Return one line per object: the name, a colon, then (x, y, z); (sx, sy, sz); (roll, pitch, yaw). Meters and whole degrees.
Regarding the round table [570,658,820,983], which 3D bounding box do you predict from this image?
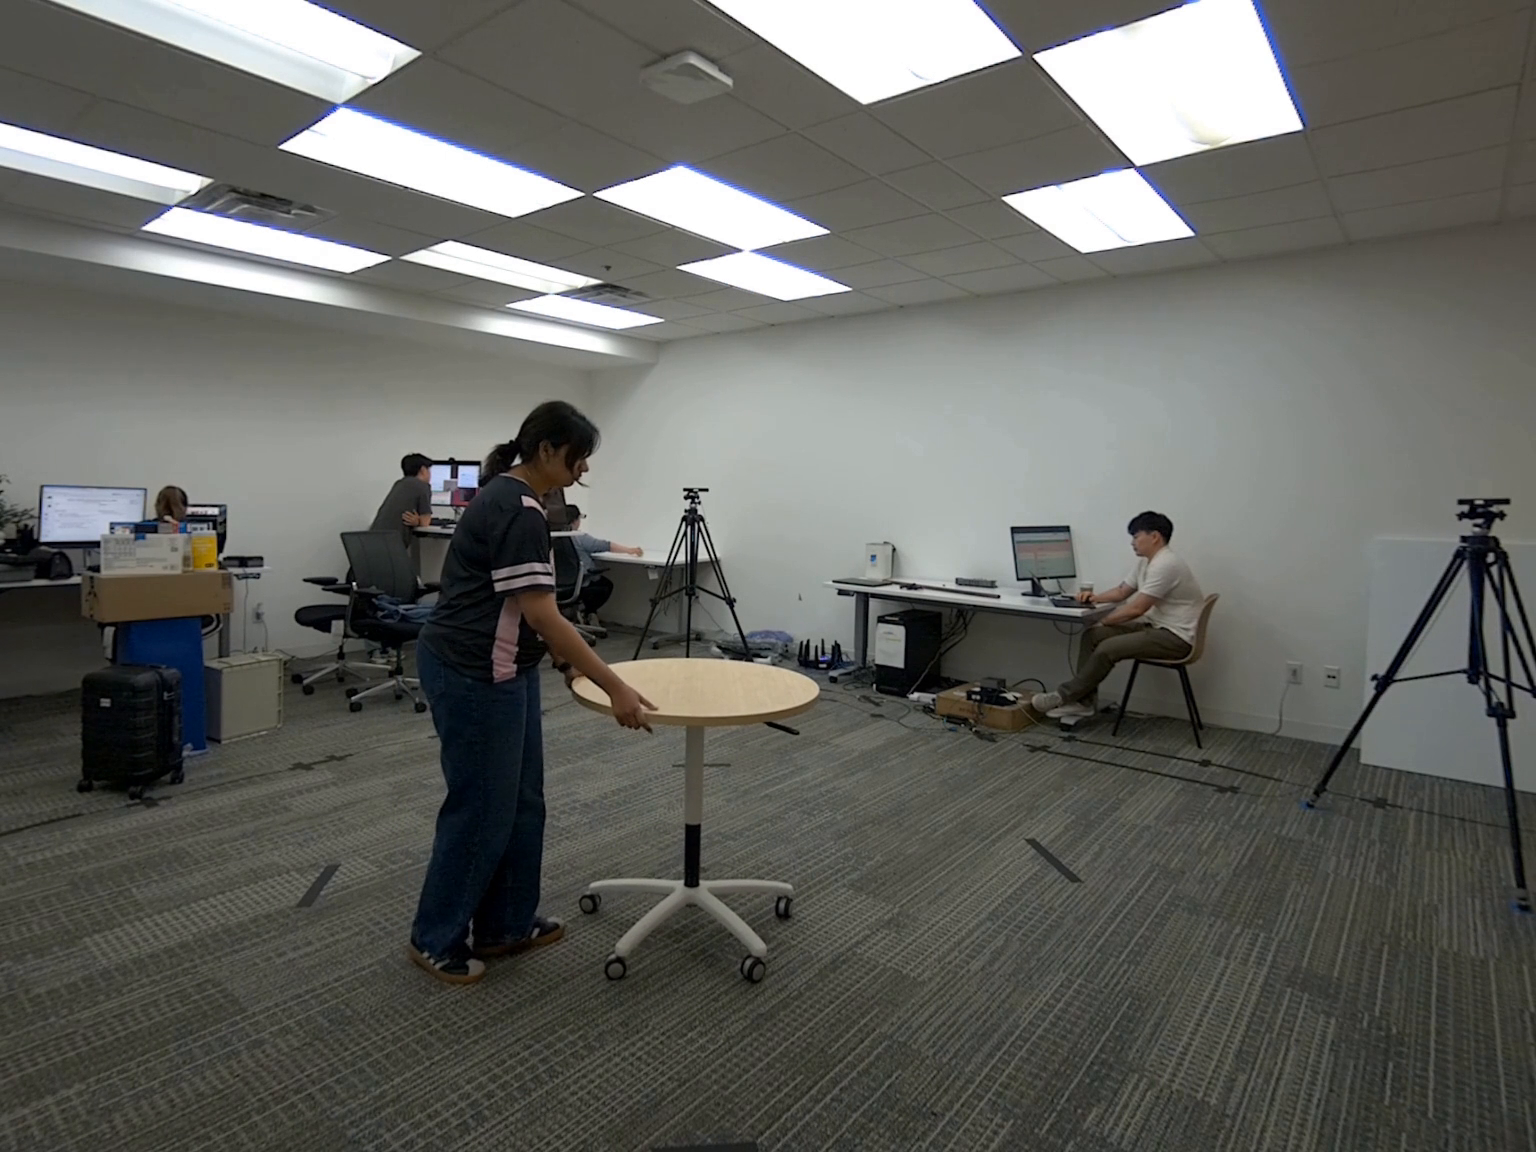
round table: (-0.258, 0.719, 2.675); (0.784, 0.784, 0.789); (1, 4, -2)
